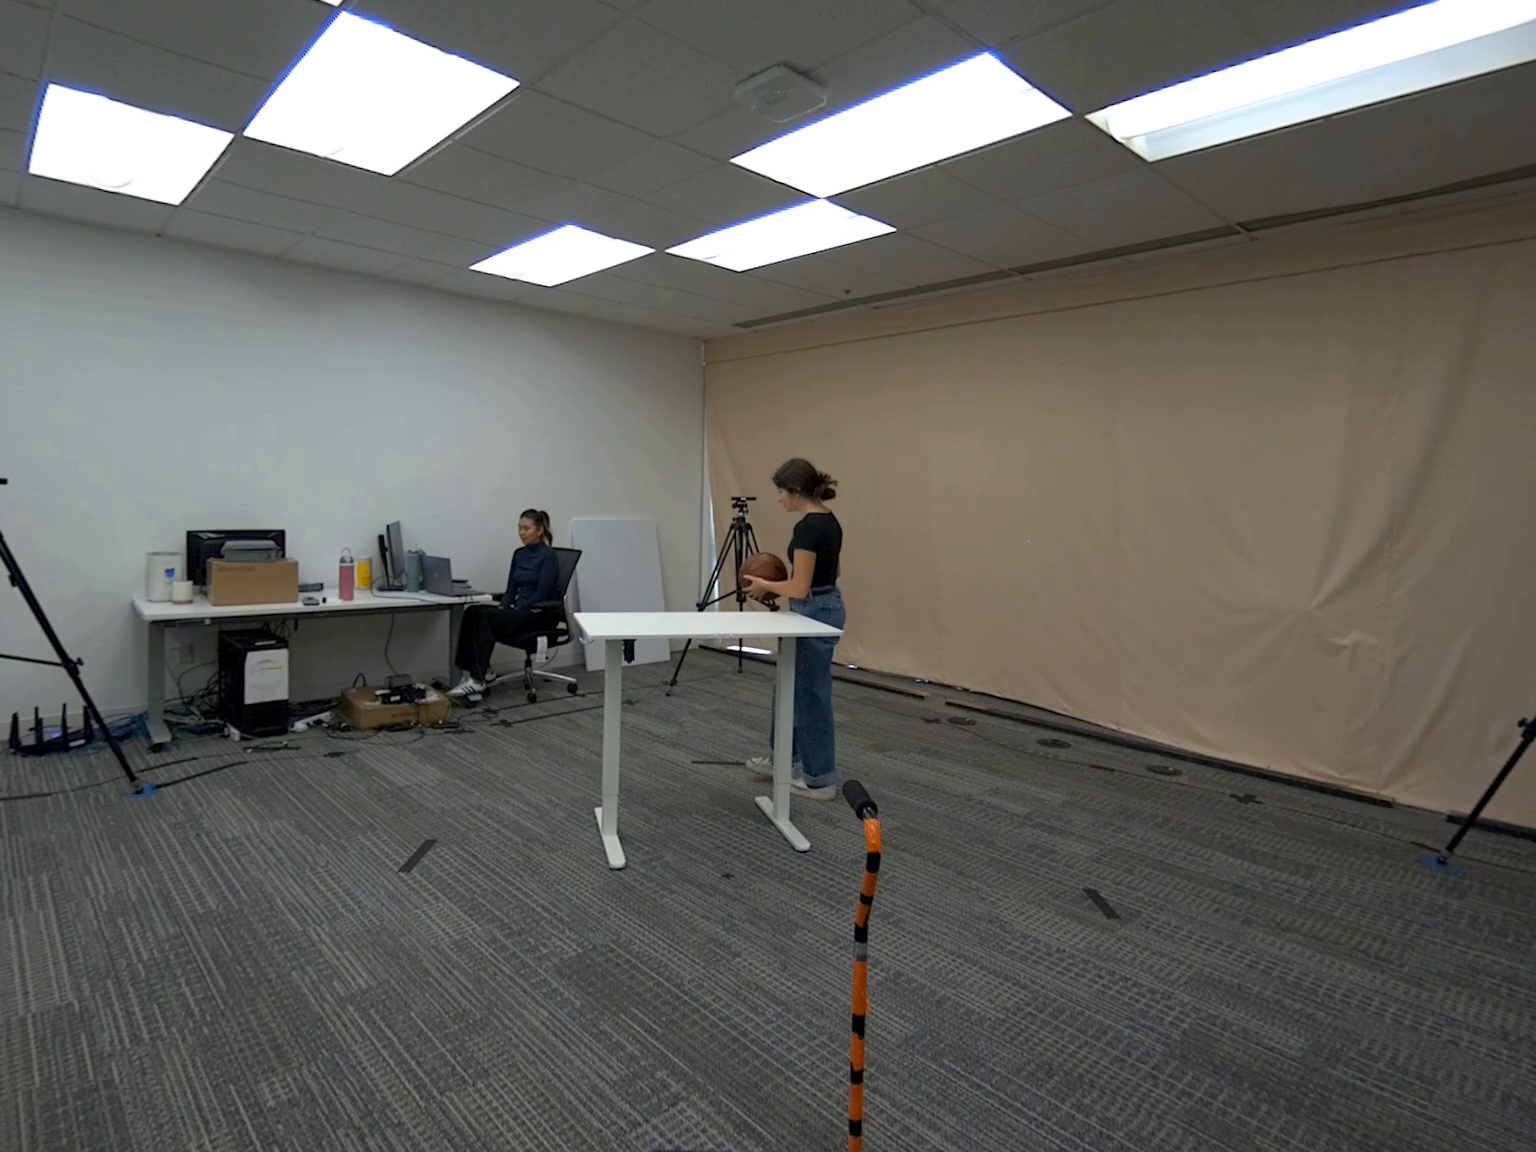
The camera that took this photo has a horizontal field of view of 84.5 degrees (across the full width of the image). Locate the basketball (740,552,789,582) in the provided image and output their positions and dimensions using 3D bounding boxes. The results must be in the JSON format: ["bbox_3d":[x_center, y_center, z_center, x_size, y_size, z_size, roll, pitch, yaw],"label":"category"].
[{"bbox_3d":[-0.028,0.000,4.076,0.236,0.235,0.237,1,4,-1],"label":"basketball"}]
